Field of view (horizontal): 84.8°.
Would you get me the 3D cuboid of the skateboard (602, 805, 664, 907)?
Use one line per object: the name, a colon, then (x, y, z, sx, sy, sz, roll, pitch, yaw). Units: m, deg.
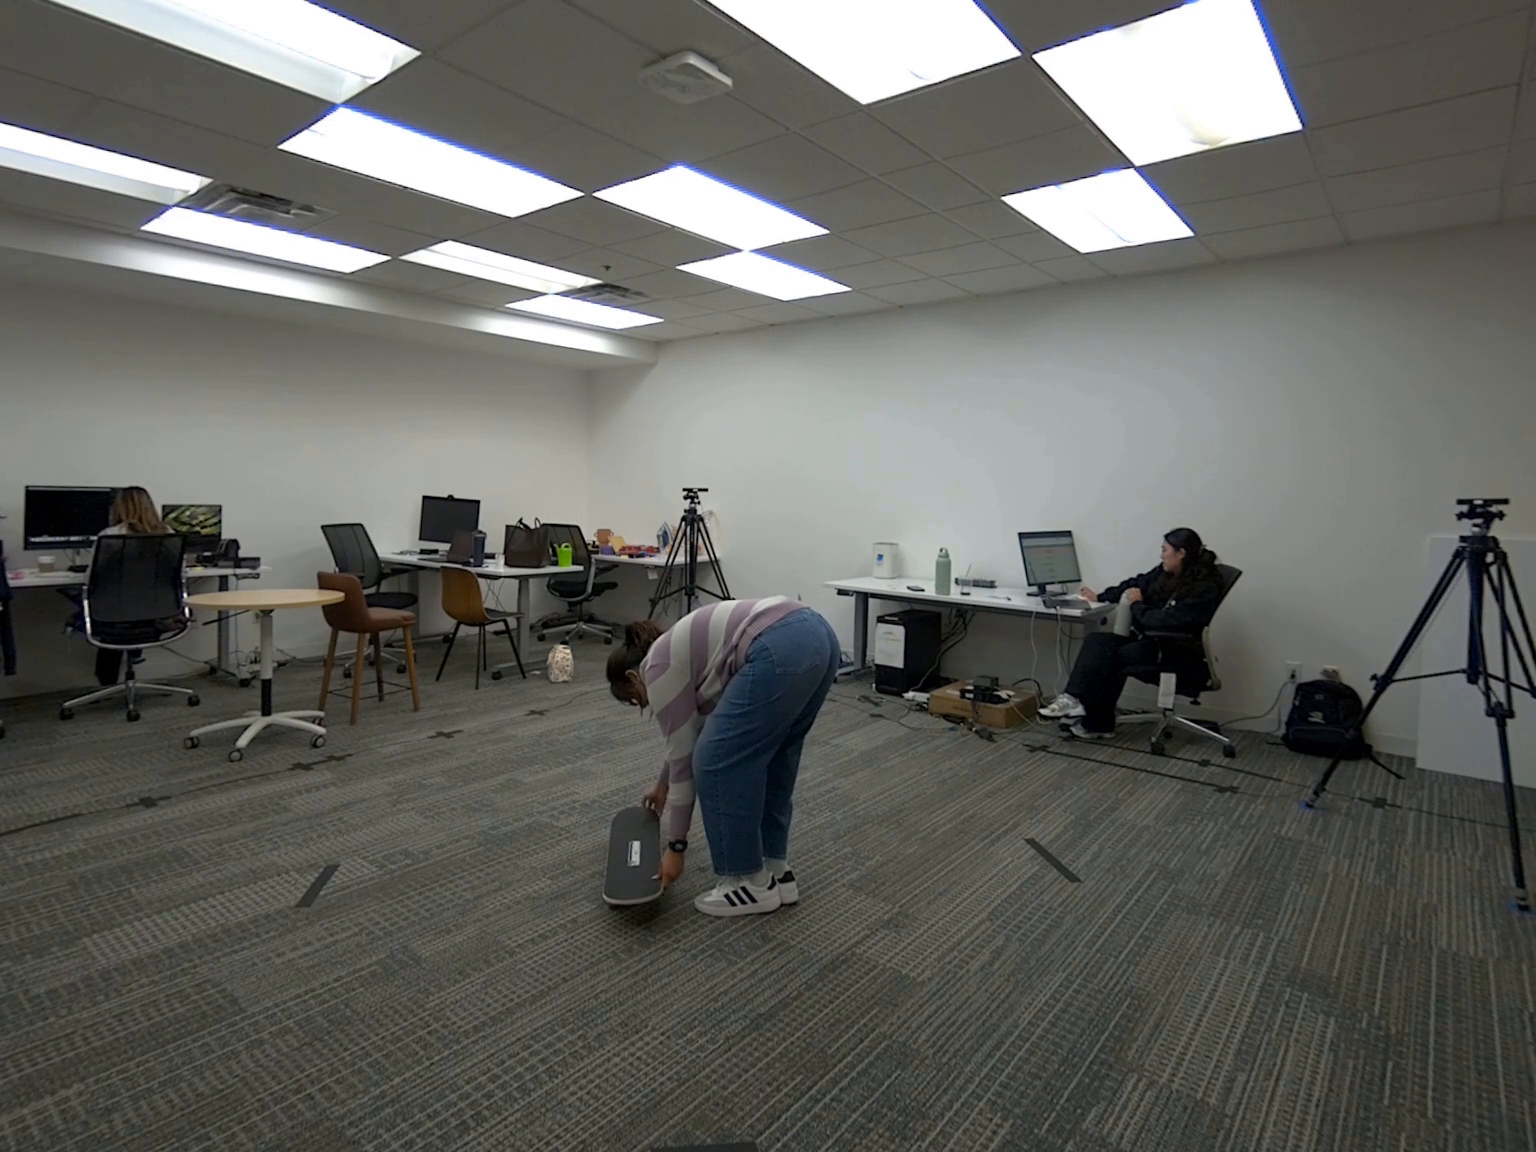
skateboard: (-0.484, 1.005, 3.028, 0.192, 0.110, 0.792, -3, 6, -6)
